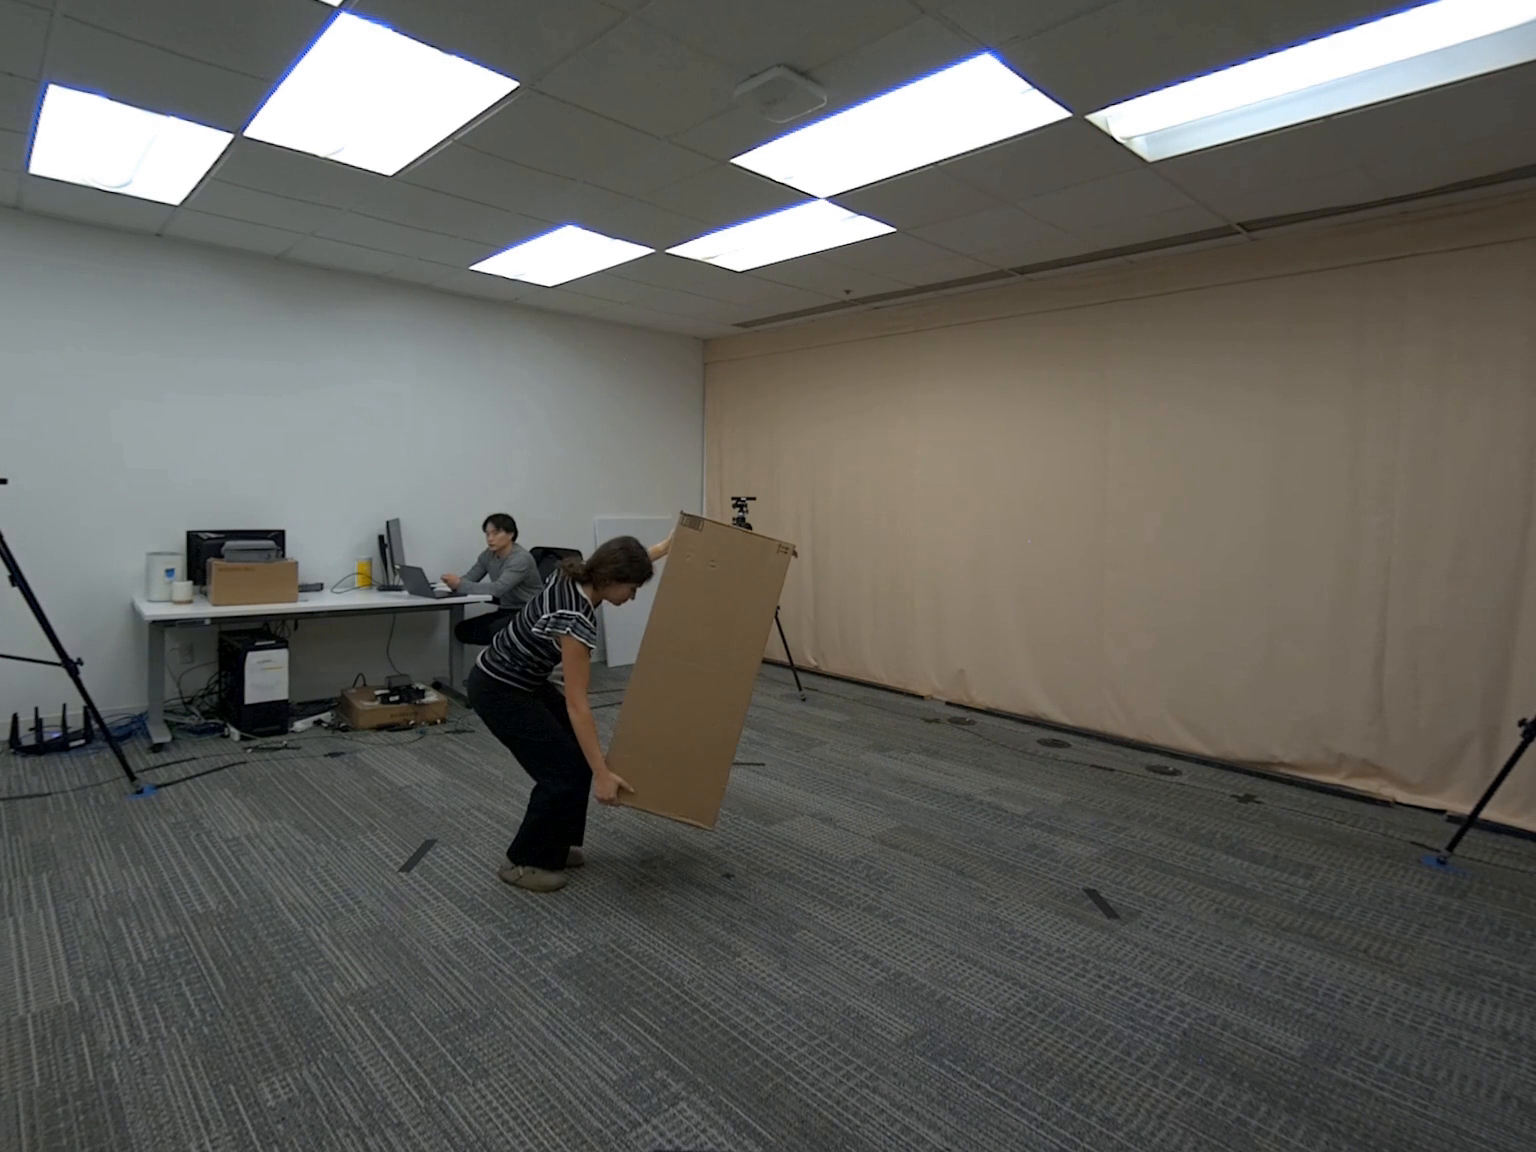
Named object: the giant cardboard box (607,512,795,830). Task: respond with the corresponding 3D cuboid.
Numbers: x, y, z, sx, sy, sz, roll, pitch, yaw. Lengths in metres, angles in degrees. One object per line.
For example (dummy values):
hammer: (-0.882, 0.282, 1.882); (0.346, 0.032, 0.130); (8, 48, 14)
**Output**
giant cardboard box: (-0.275, 0.336, 3.164); (0.425, 1.029, 0.577); (16, -5, -3)
